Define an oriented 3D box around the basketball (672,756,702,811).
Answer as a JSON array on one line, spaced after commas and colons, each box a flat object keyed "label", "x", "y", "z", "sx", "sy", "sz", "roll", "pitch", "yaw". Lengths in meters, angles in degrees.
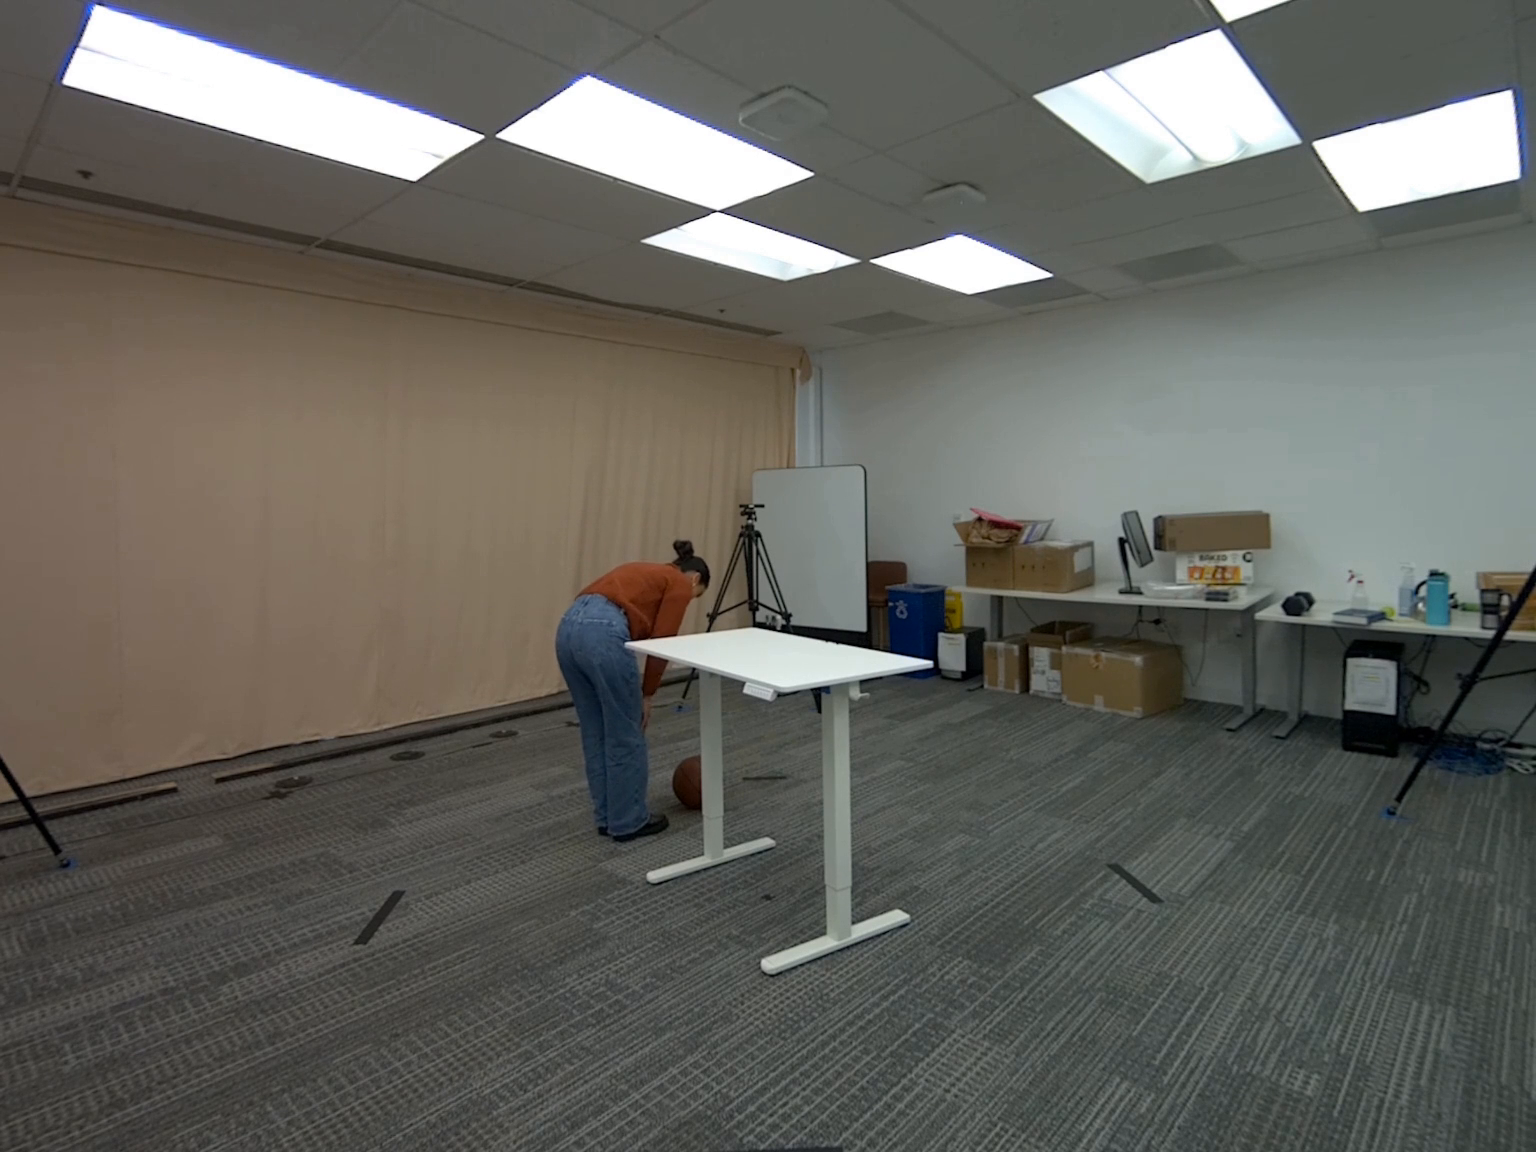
[{"label": "basketball", "x": -0.324, "y": 0.943, "z": 3.893, "sx": 0.236, "sy": 0.235, "sz": 0.237, "roll": -1, "pitch": 4, "yaw": -2}]
